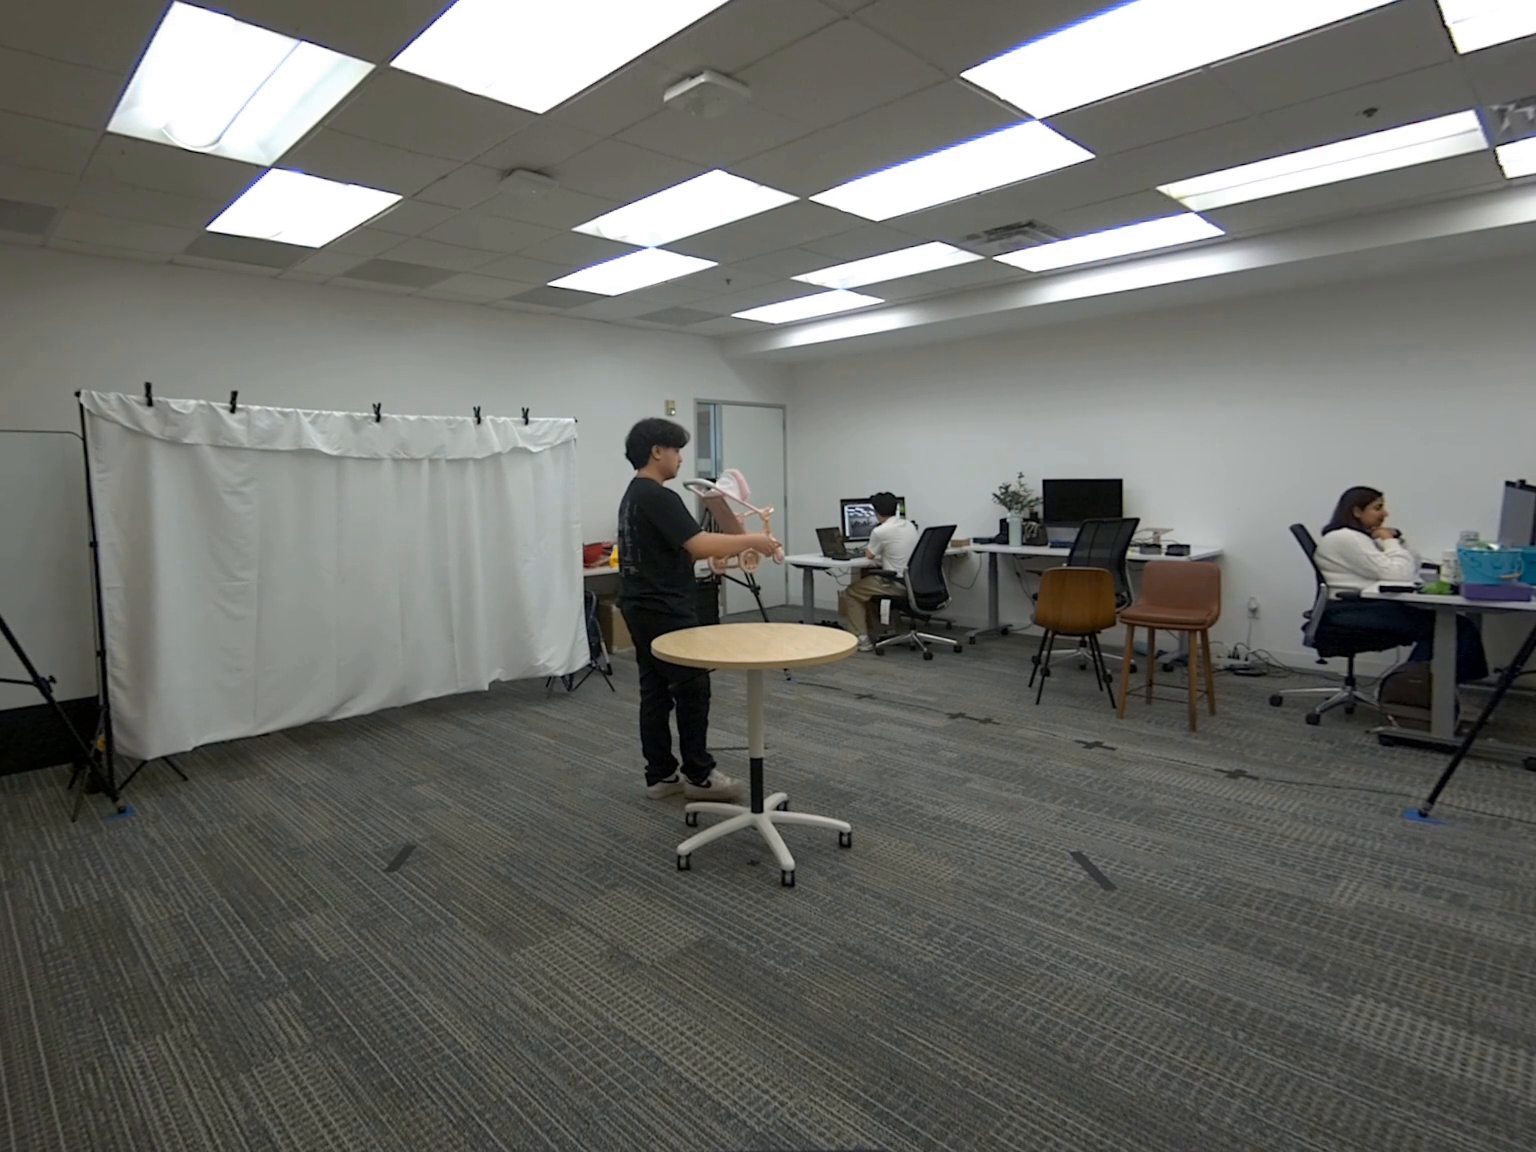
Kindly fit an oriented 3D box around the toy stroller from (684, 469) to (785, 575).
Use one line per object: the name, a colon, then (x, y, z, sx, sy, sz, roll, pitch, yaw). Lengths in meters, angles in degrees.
toy stroller: (-0.127, -0.245, 3.861, 0.337, 0.528, 0.288, -27, 13, -28)
